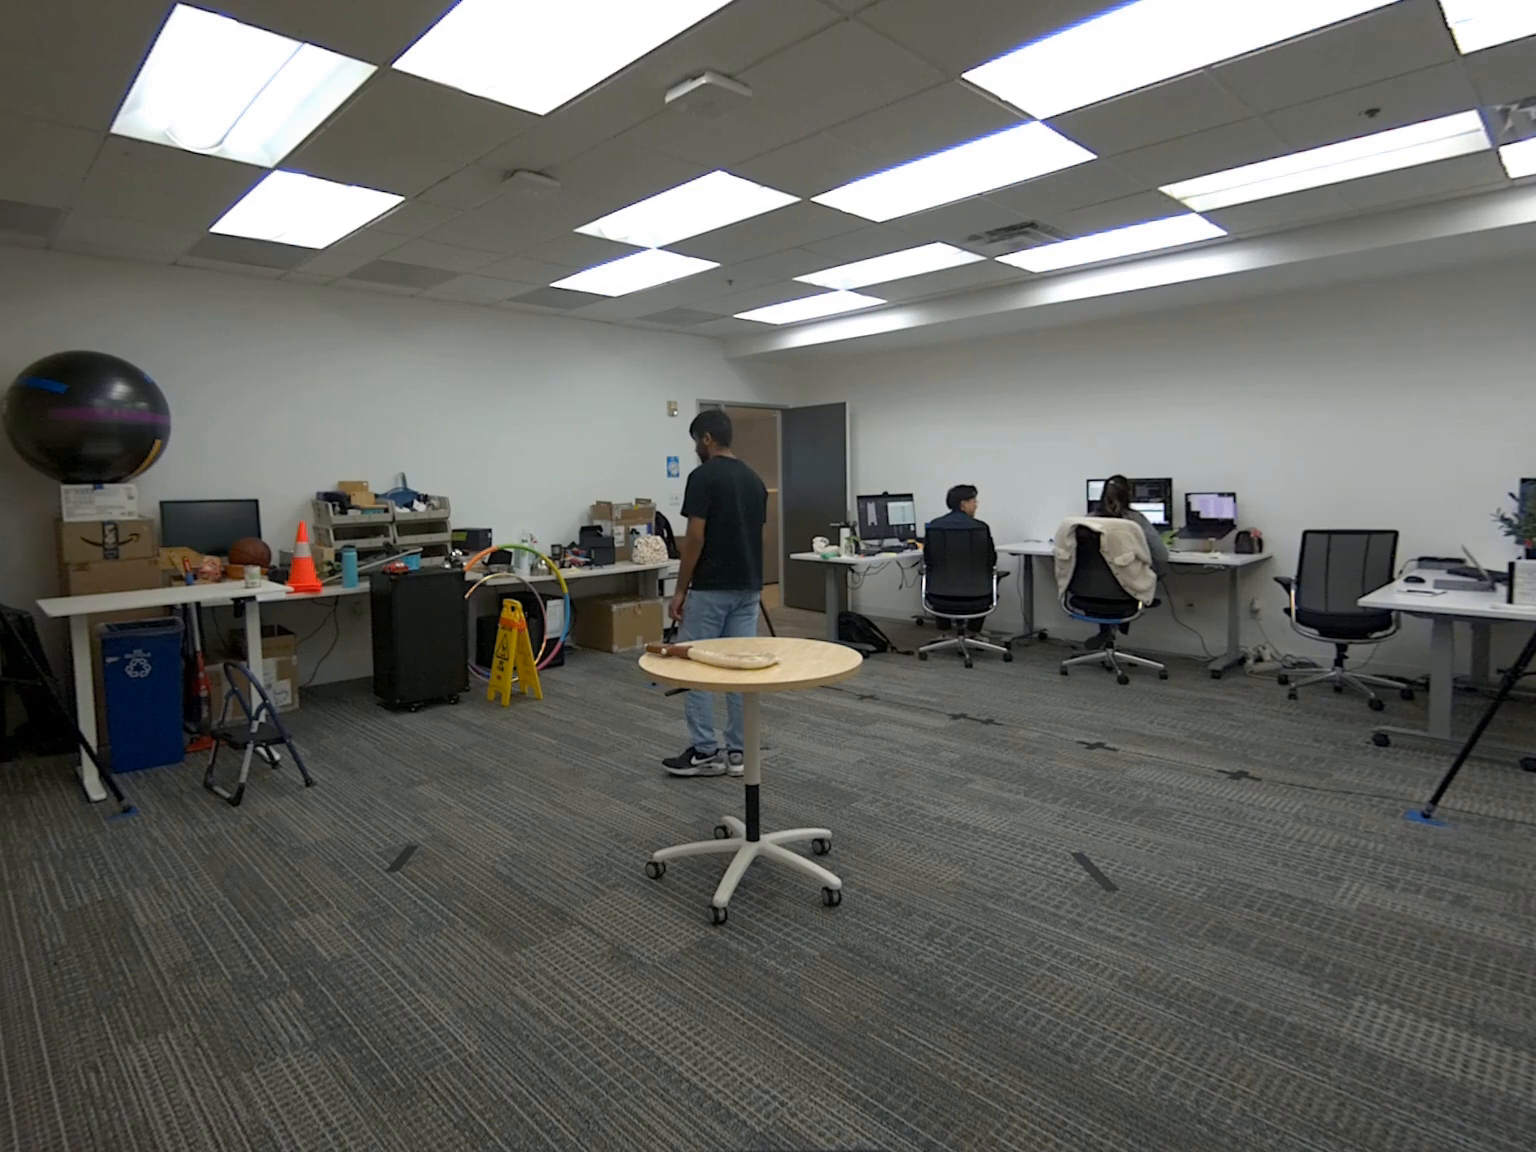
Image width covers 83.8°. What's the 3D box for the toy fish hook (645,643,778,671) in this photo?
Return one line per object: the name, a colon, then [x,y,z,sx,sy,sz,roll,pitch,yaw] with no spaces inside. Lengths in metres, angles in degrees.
toy fish hook: [-0.203,0.270,2.932,0.521,0.048,0.218,4,5,36]
